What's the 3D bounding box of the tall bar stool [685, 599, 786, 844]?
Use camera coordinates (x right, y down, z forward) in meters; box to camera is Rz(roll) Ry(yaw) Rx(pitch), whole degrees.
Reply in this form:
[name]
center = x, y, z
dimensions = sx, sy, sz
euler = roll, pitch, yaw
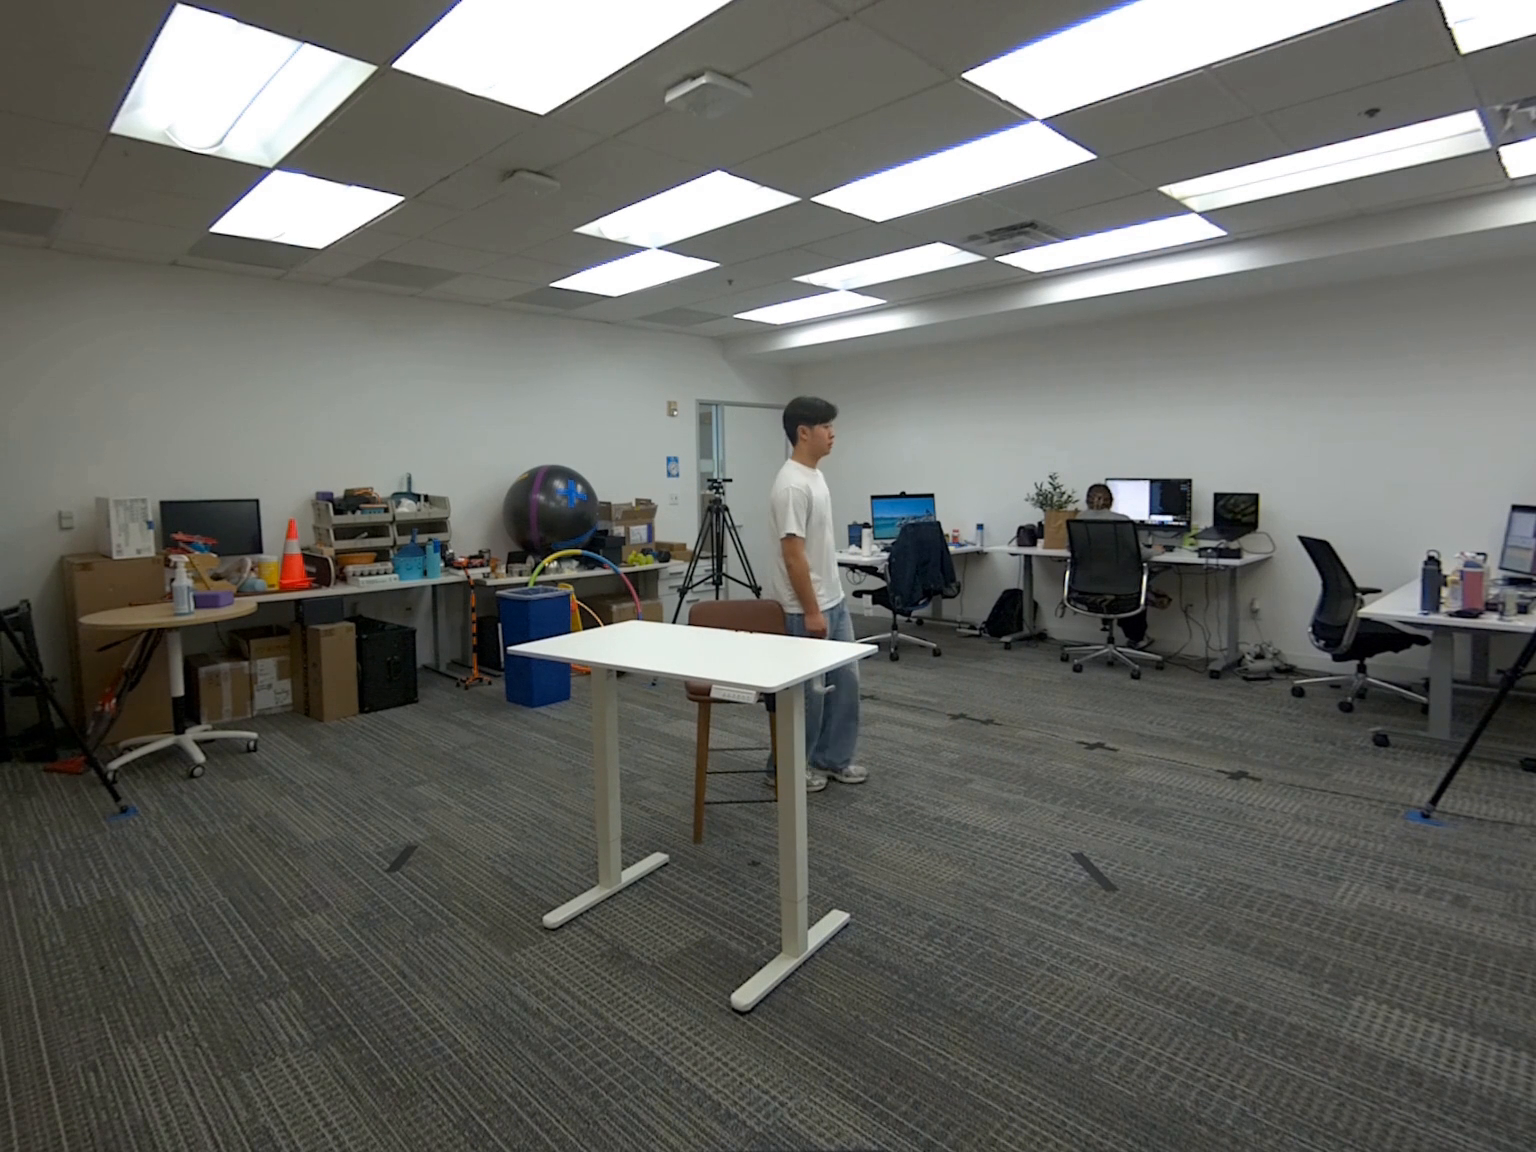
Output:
[tall bar stool]
center = -0.105, 0.568, 3.490
dimensions = 0.455, 0.888, 0.470
euler = -1, 2, -5
